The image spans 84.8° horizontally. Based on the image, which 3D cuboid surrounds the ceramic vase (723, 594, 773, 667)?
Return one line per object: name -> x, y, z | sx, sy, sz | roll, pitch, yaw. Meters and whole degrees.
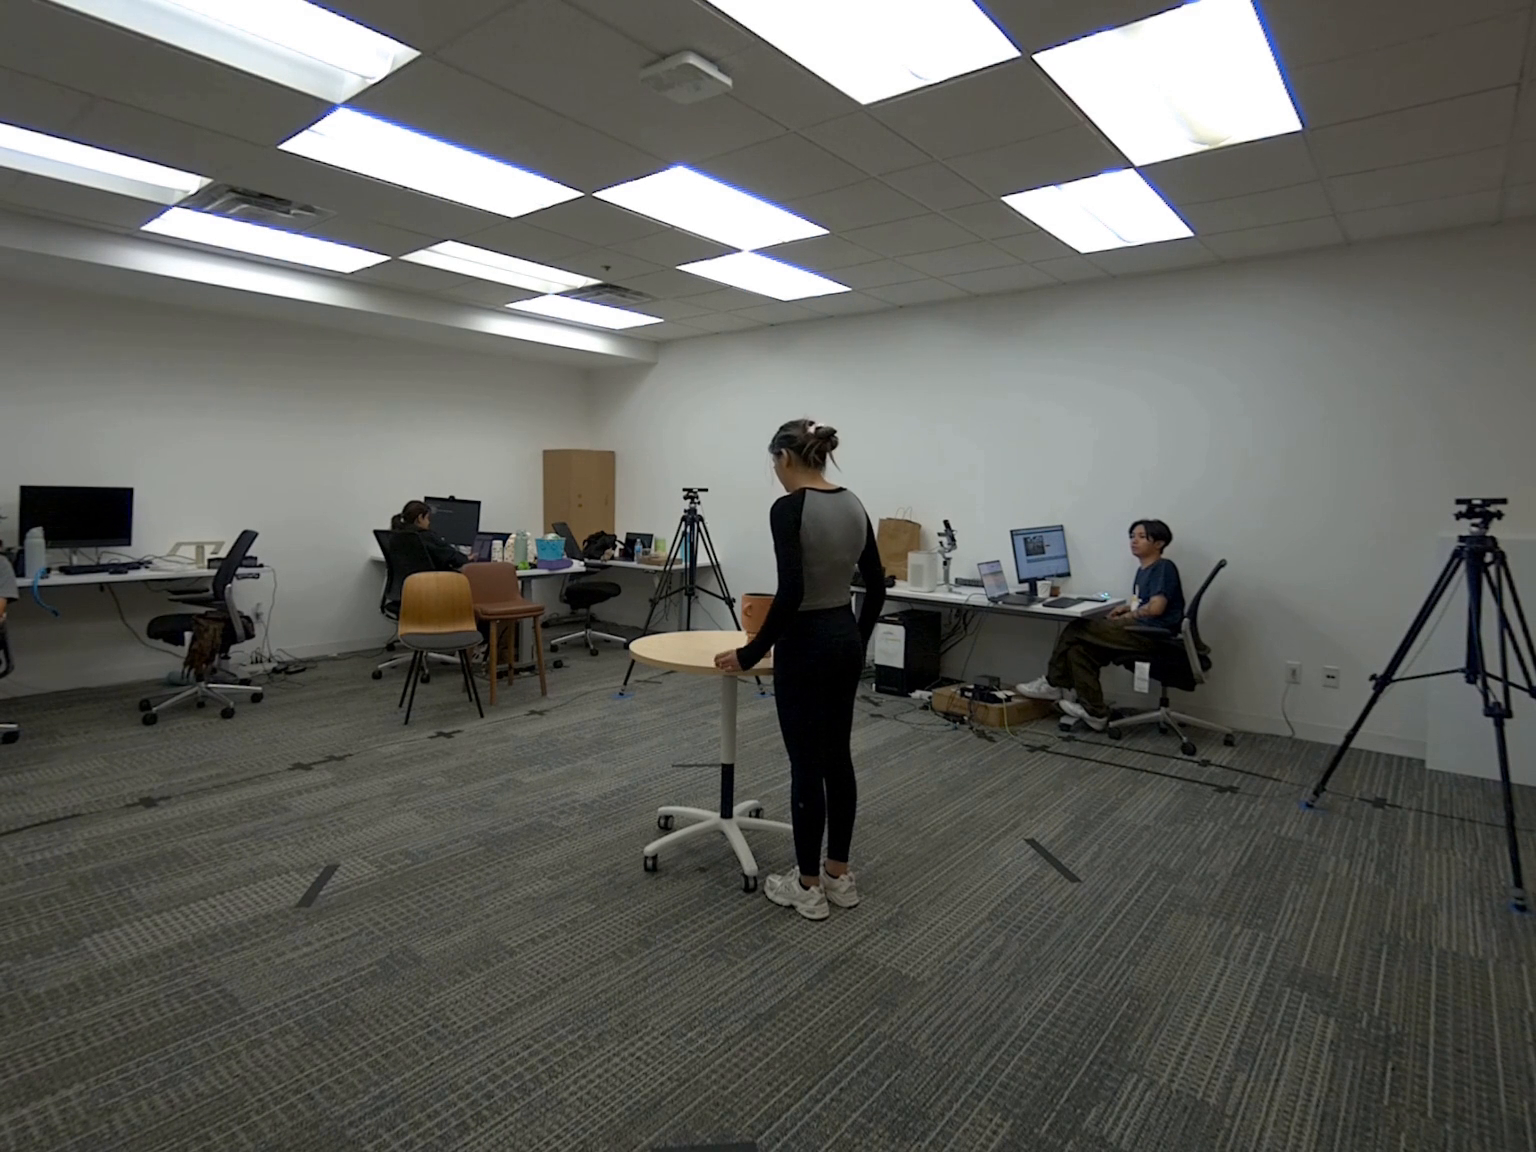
ceramic vase -> -0.037, 0.176, 3.055 | 0.156, 0.219, 0.137 | 1, 3, -15
